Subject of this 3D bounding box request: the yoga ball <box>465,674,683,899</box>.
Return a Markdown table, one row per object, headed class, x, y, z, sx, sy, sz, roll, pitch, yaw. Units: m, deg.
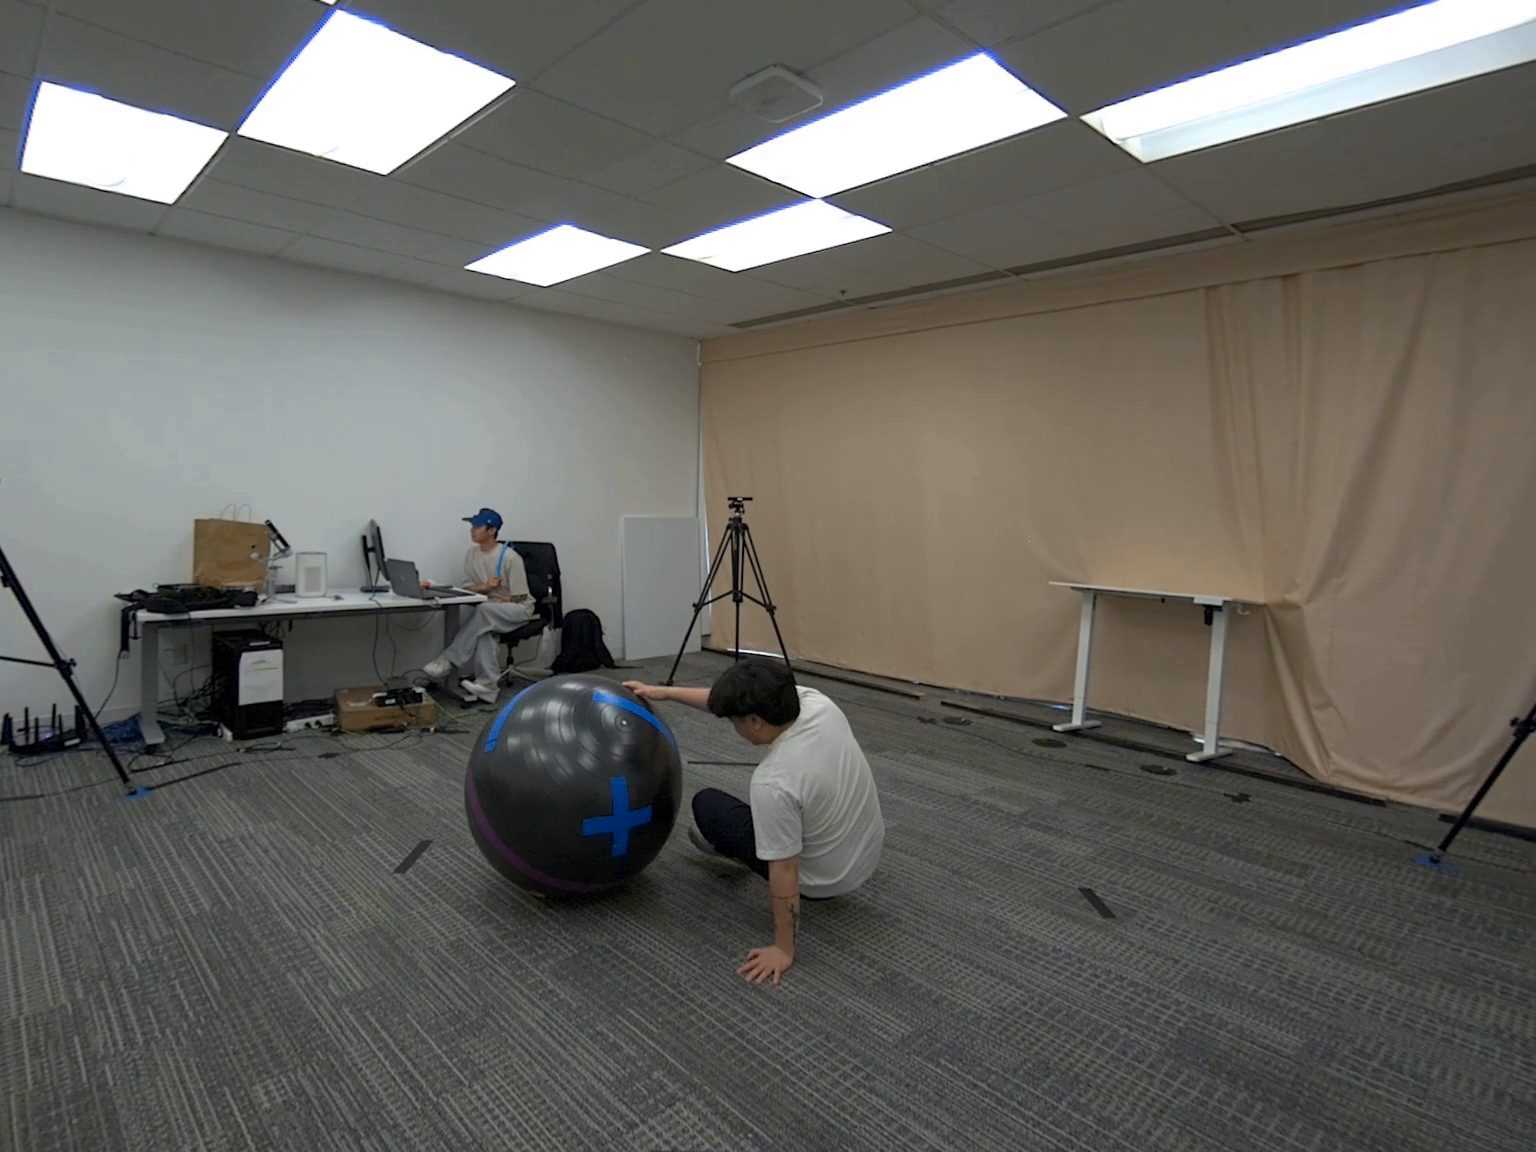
| class | x | y | z | sx | sy | sz | roll | pitch | yaw |
| --- | --- | --- | --- | --- | --- | --- | --- | --- | --- |
| yoga ball | -0.682 | 0.733 | 2.981 | 0.757 | 0.756 | 0.760 | 1 | 4 | -1 |
